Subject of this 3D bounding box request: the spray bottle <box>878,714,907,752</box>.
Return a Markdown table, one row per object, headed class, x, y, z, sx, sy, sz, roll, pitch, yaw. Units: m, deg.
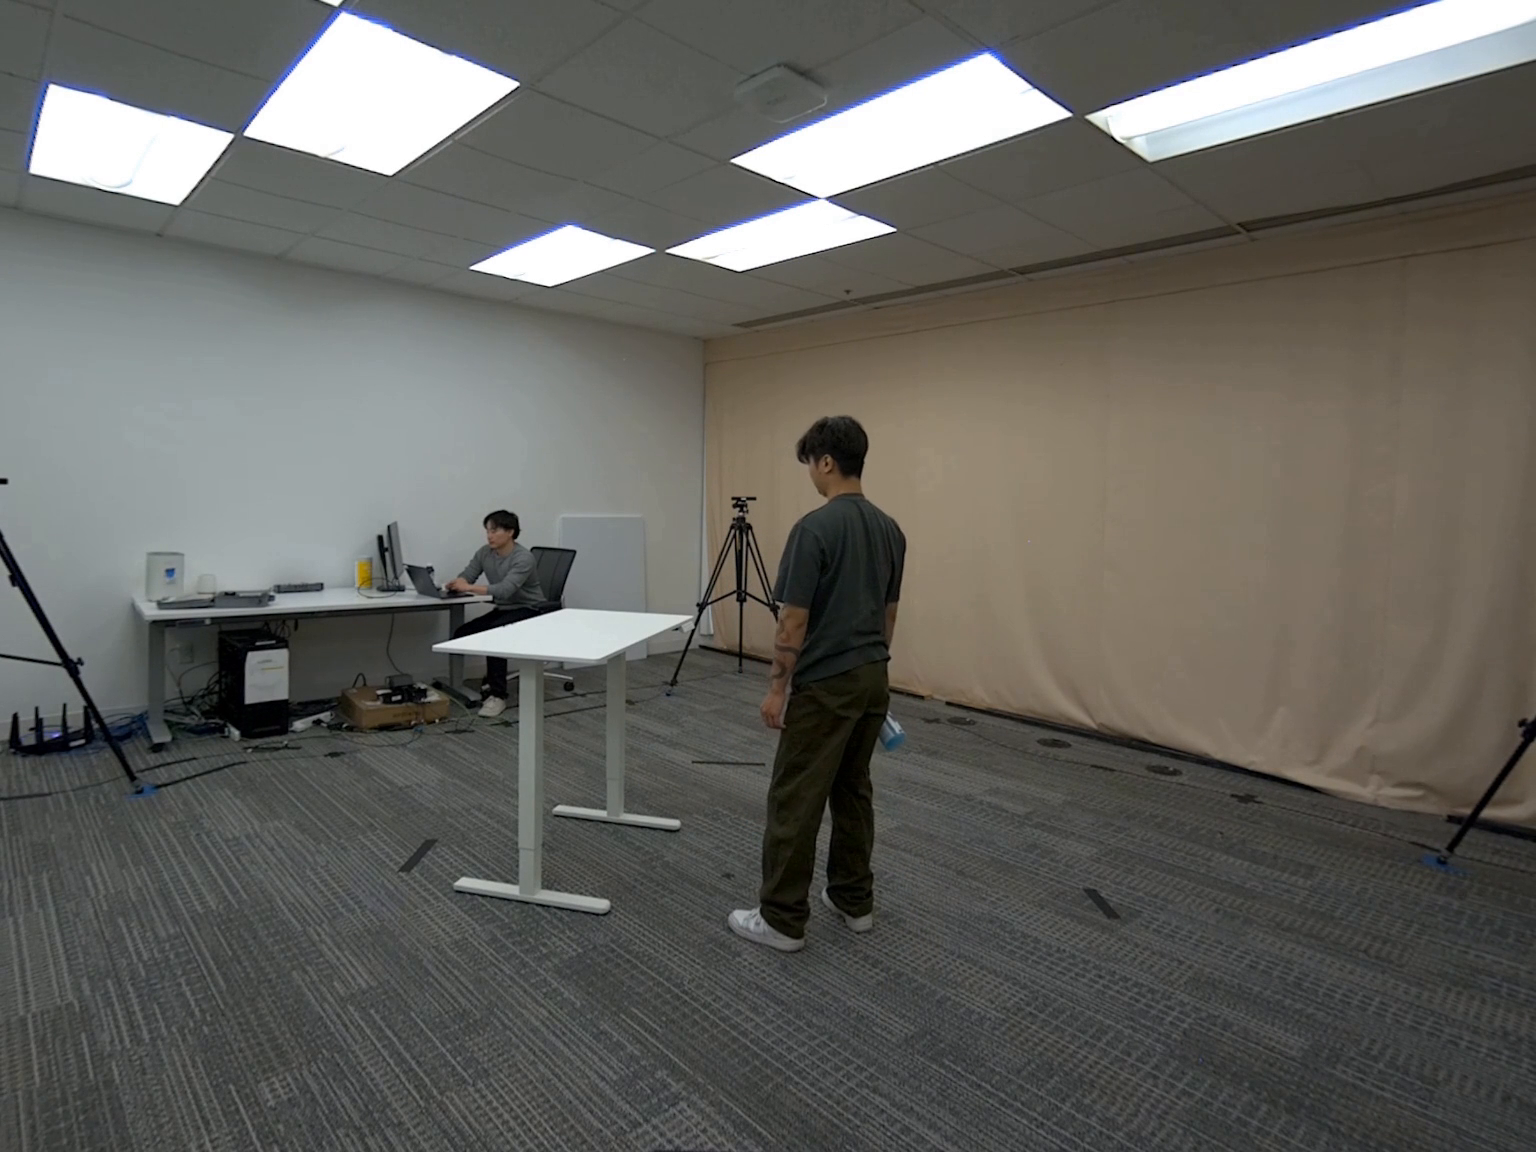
| class | x | y | z | sx | sy | sz | roll | pitch | yaw |
| --- | --- | --- | --- | --- | --- | --- | --- | --- | --- |
| spray bottle | 0.361 | 0.467 | 2.918 | 0.086 | 0.088 | 0.306 | -26 | 55 | -15 |
